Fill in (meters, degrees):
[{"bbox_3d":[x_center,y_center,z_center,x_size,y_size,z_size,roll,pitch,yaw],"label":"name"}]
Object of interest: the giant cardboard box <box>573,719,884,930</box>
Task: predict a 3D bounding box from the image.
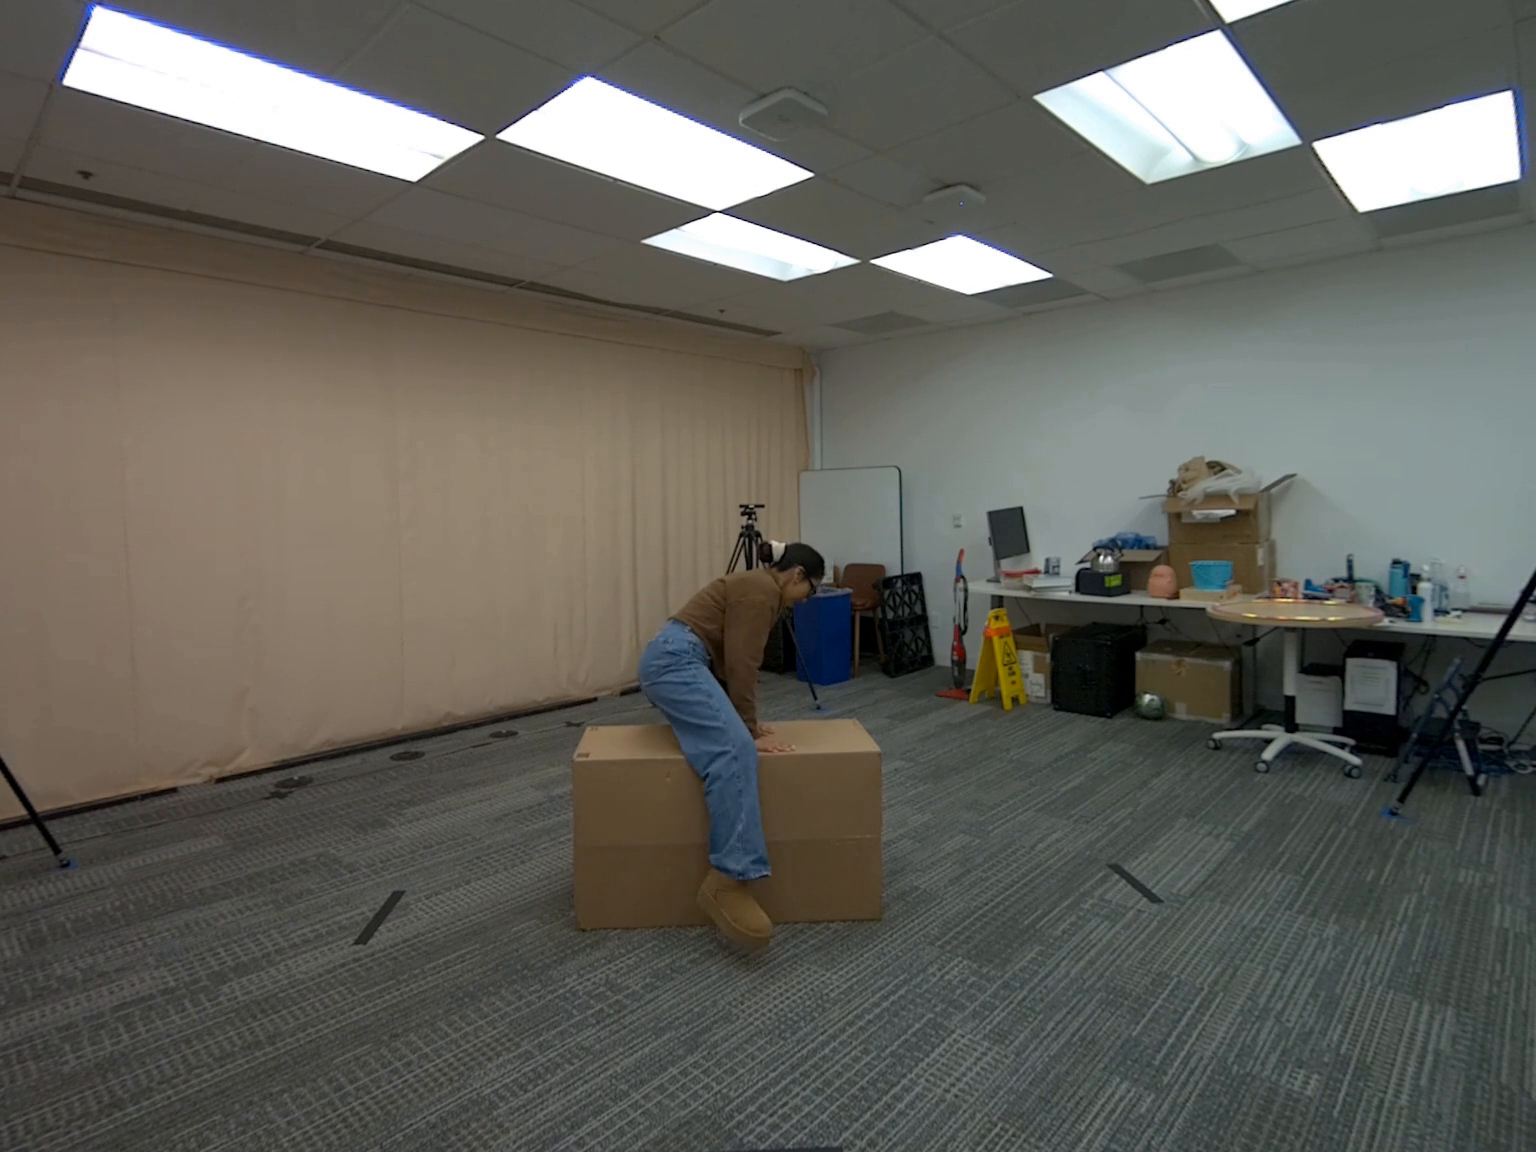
[{"bbox_3d":[-0.152,0.859,2.991,1.025,0.582,0.449,-1,4,-2],"label":"giant cardboard box"}]
